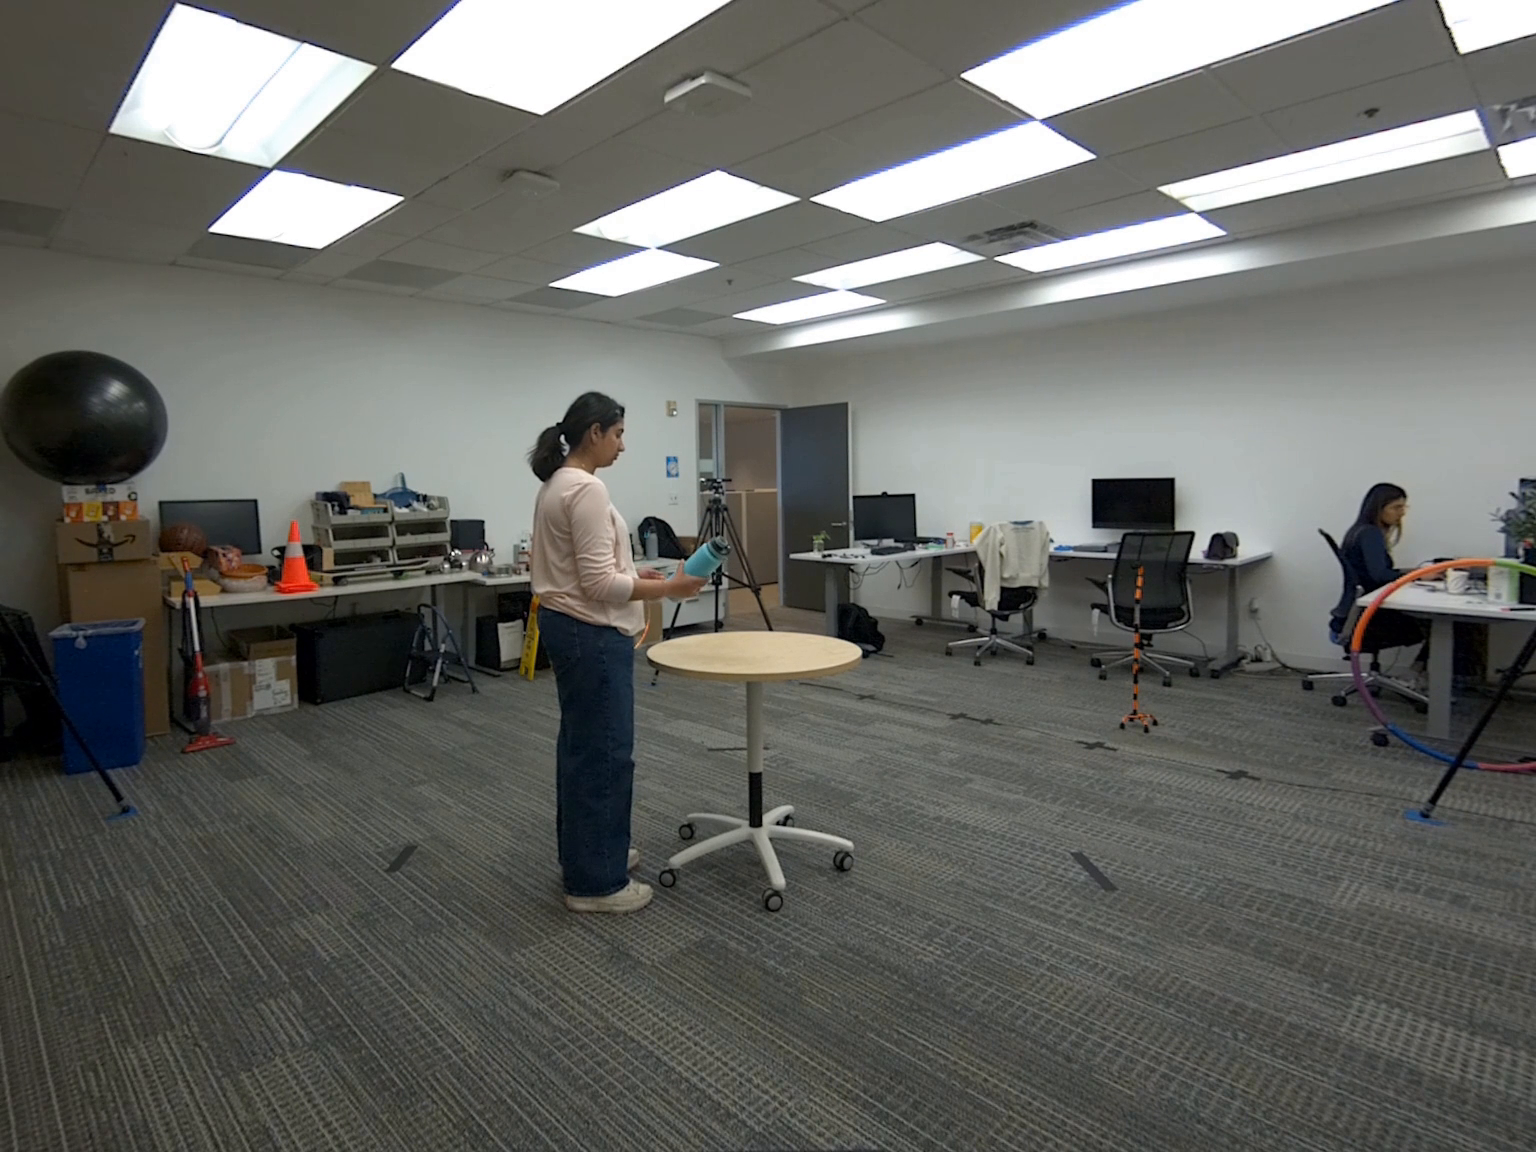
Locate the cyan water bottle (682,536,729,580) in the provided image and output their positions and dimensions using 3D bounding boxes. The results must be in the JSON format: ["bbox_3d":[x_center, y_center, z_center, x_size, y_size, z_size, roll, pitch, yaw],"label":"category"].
[{"bbox_3d":[-0.235,-0.025,2.865,0.284,0.094,0.090,-43,-13,21],"label":"cyan water bottle"}]
